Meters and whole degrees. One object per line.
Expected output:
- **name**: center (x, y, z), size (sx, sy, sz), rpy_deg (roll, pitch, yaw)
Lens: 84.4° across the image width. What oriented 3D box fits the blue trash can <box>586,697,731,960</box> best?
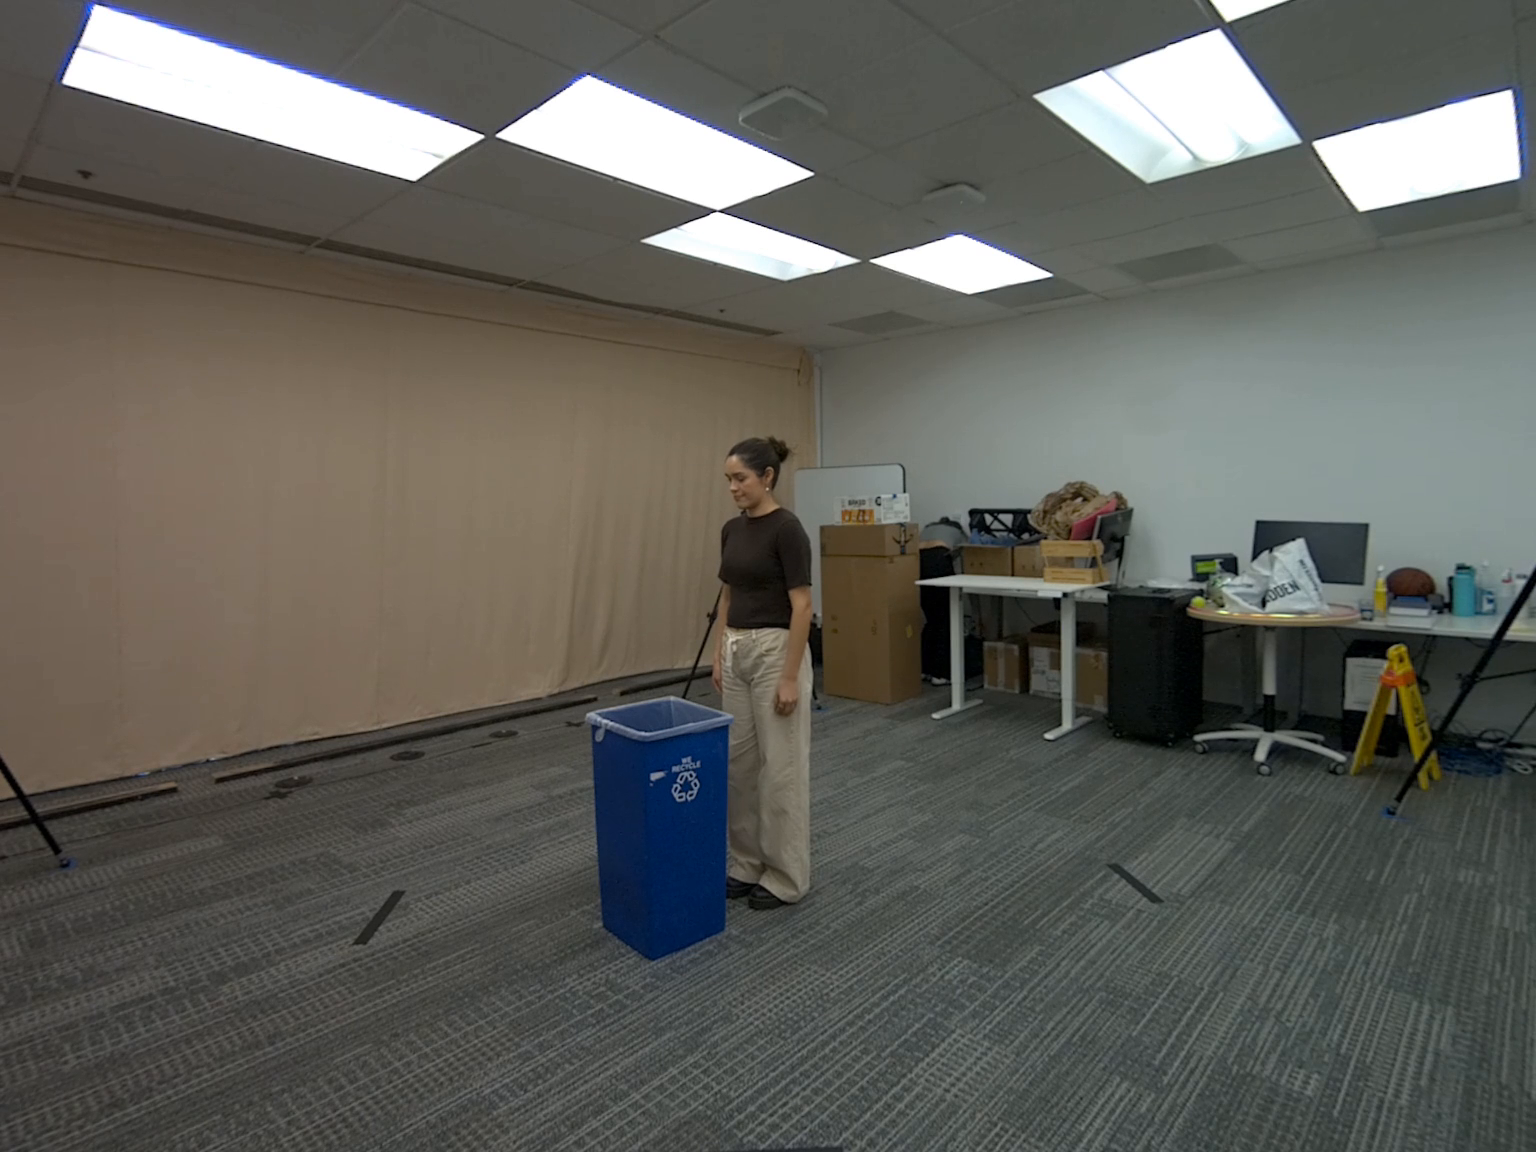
- **blue trash can**: center (-0.352, 0.808, 2.768), size (0.363, 0.712, 0.390), rpy_deg (-4, 5, -41)
